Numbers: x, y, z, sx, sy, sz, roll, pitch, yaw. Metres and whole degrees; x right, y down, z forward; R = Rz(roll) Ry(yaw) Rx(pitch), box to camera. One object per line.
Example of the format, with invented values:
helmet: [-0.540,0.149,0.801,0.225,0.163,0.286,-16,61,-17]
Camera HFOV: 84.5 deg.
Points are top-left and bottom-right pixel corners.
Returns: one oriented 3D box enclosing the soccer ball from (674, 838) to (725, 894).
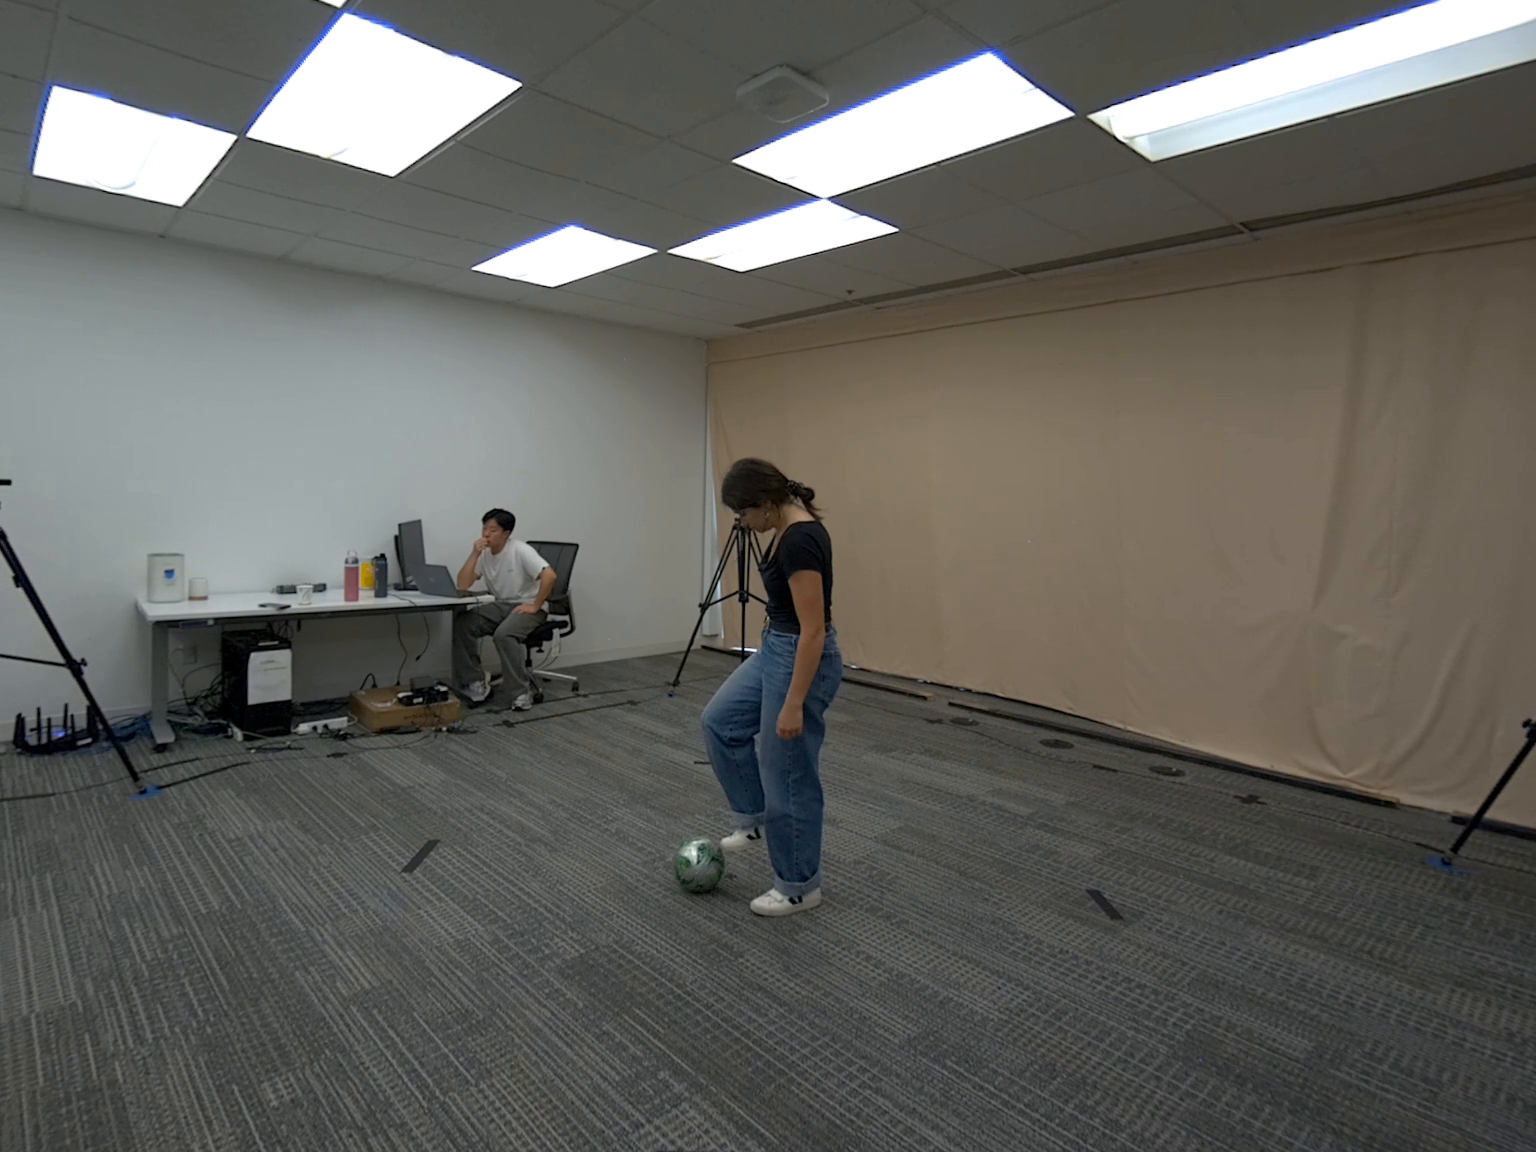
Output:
soccer ball: [-0.261,1.018,2.994,0.187,0.187,0.188,1,4,-1]
